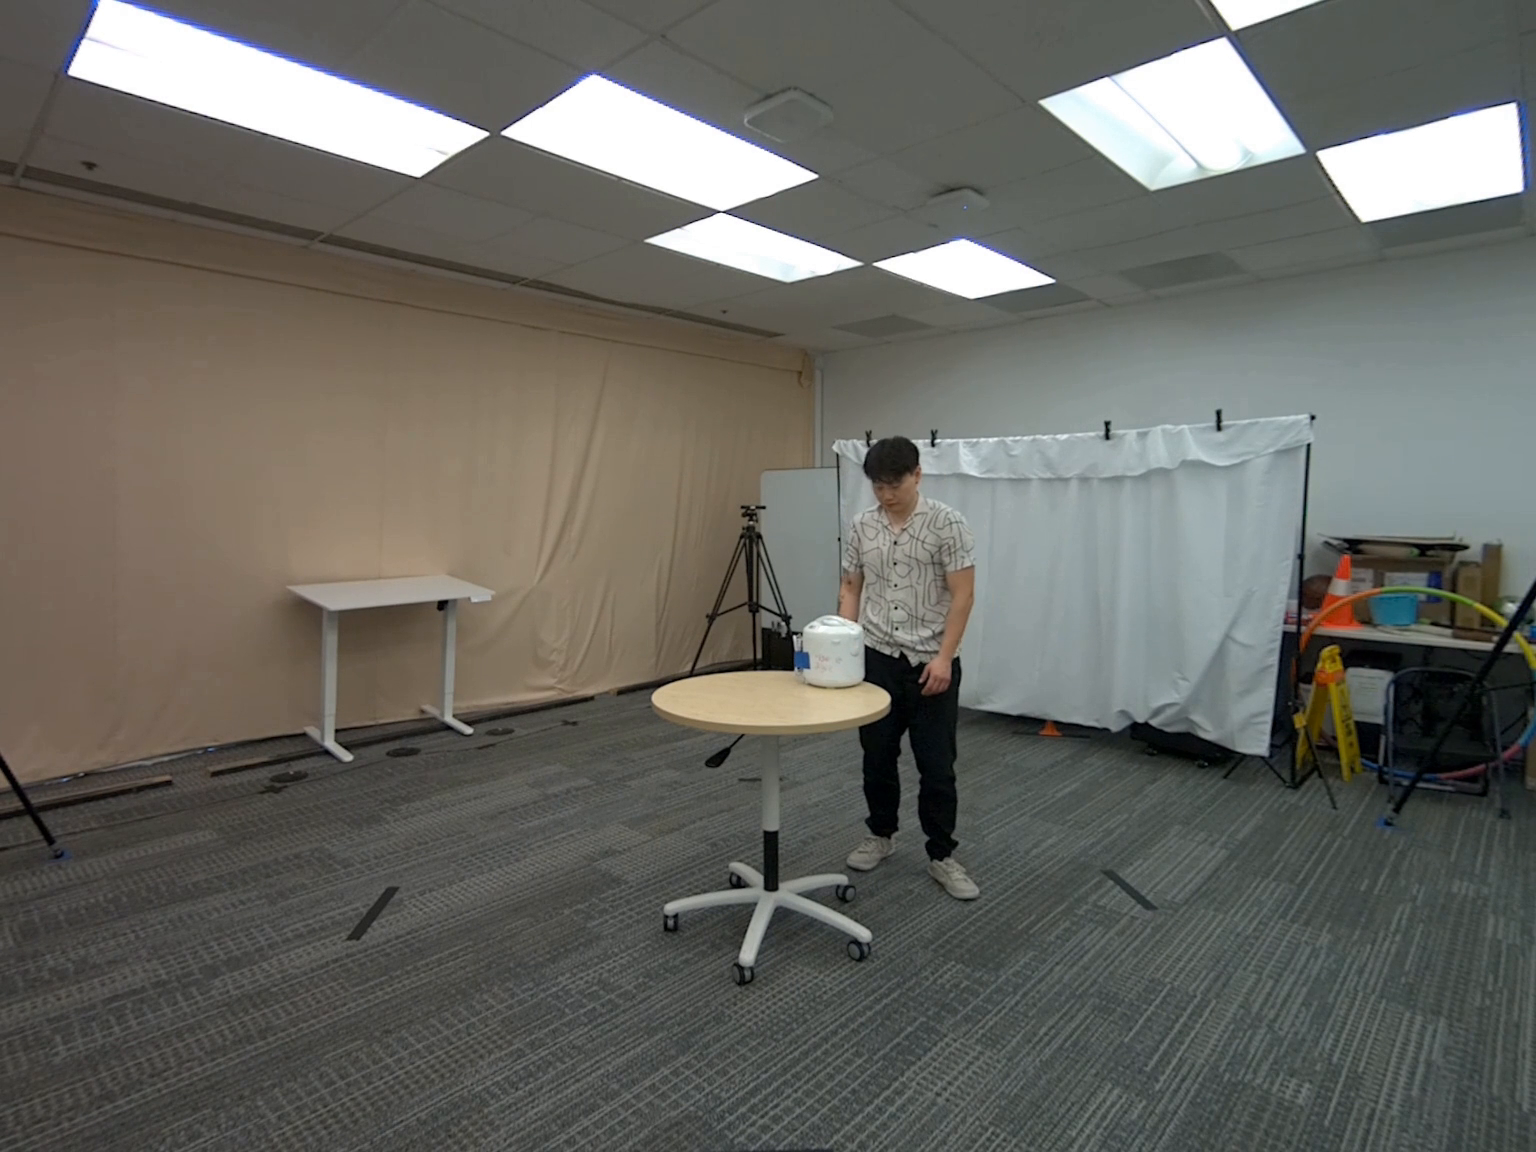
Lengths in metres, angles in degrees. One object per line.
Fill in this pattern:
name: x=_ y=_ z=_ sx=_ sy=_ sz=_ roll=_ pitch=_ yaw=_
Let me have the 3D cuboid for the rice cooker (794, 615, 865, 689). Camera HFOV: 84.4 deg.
rice cooker: x=0.225 y=0.249 z=2.874 sx=0.211 sy=0.232 sz=0.228 roll=-3 pitch=5 yaw=-39
